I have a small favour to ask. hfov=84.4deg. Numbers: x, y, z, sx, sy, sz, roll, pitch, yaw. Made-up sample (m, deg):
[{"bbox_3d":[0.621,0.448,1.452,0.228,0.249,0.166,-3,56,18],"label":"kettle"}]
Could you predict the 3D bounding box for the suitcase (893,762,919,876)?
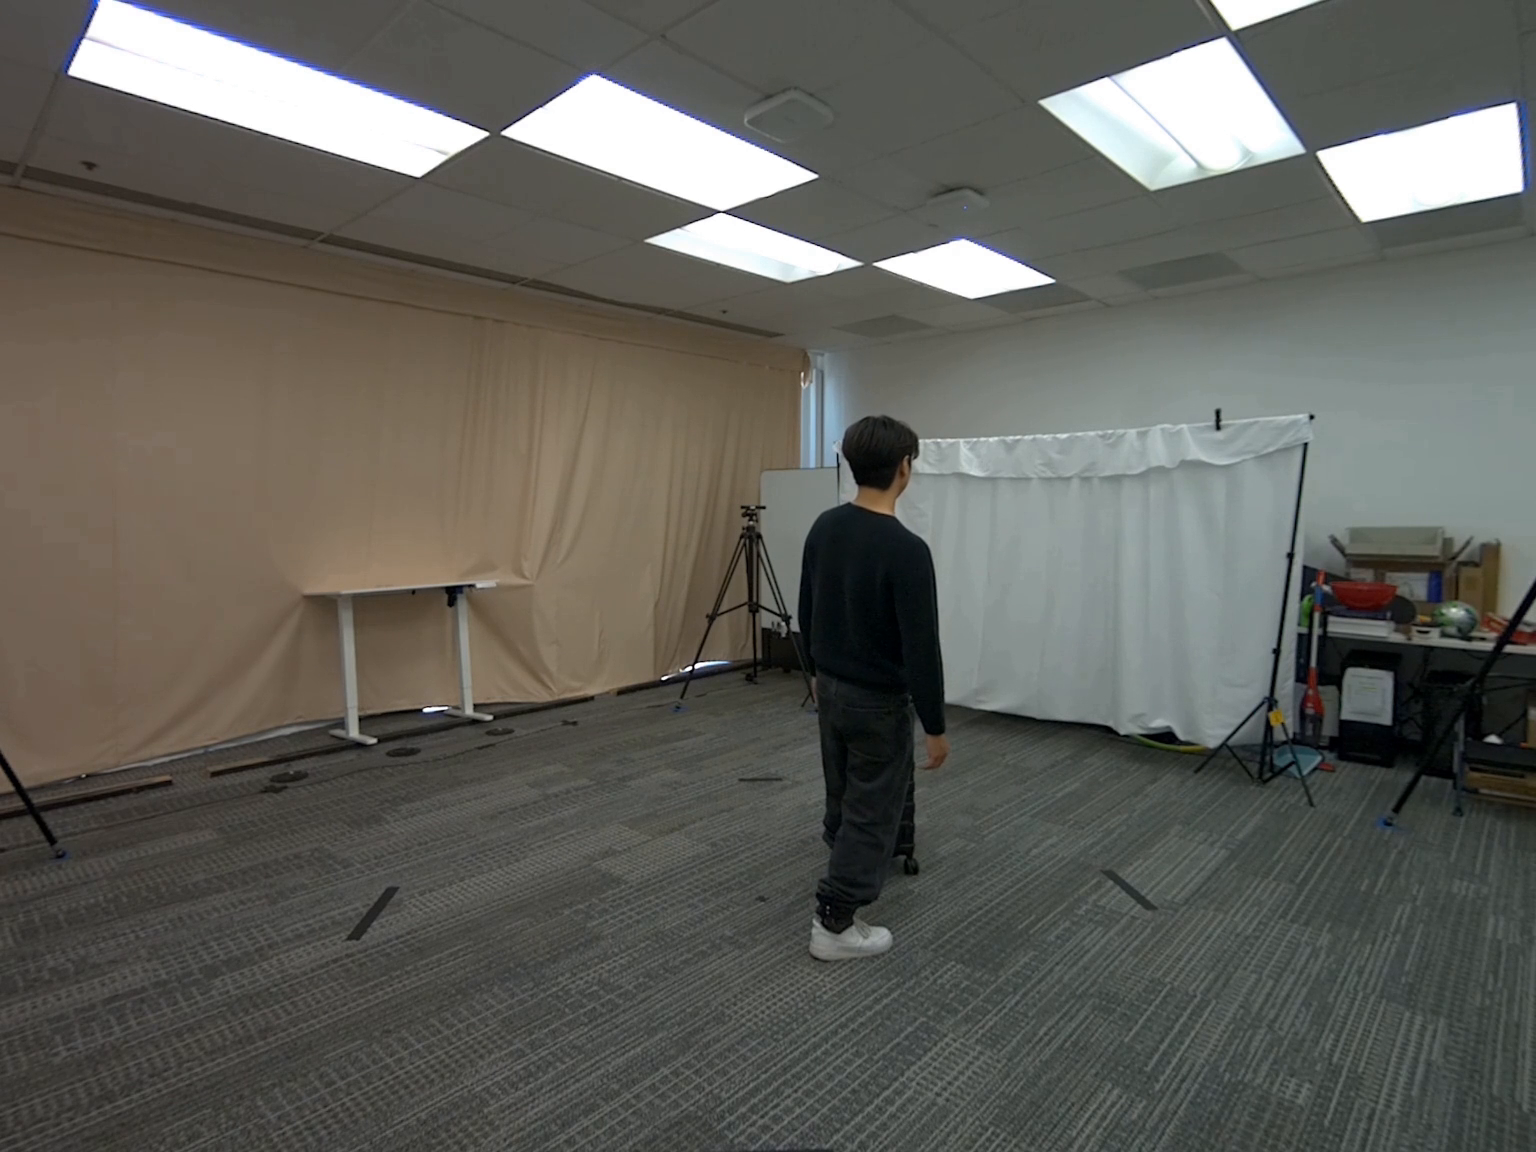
[{"bbox_3d":[0.424,0.840,3.335,0.246,0.549,0.379,0,2,-10],"label":"suitcase"}]
